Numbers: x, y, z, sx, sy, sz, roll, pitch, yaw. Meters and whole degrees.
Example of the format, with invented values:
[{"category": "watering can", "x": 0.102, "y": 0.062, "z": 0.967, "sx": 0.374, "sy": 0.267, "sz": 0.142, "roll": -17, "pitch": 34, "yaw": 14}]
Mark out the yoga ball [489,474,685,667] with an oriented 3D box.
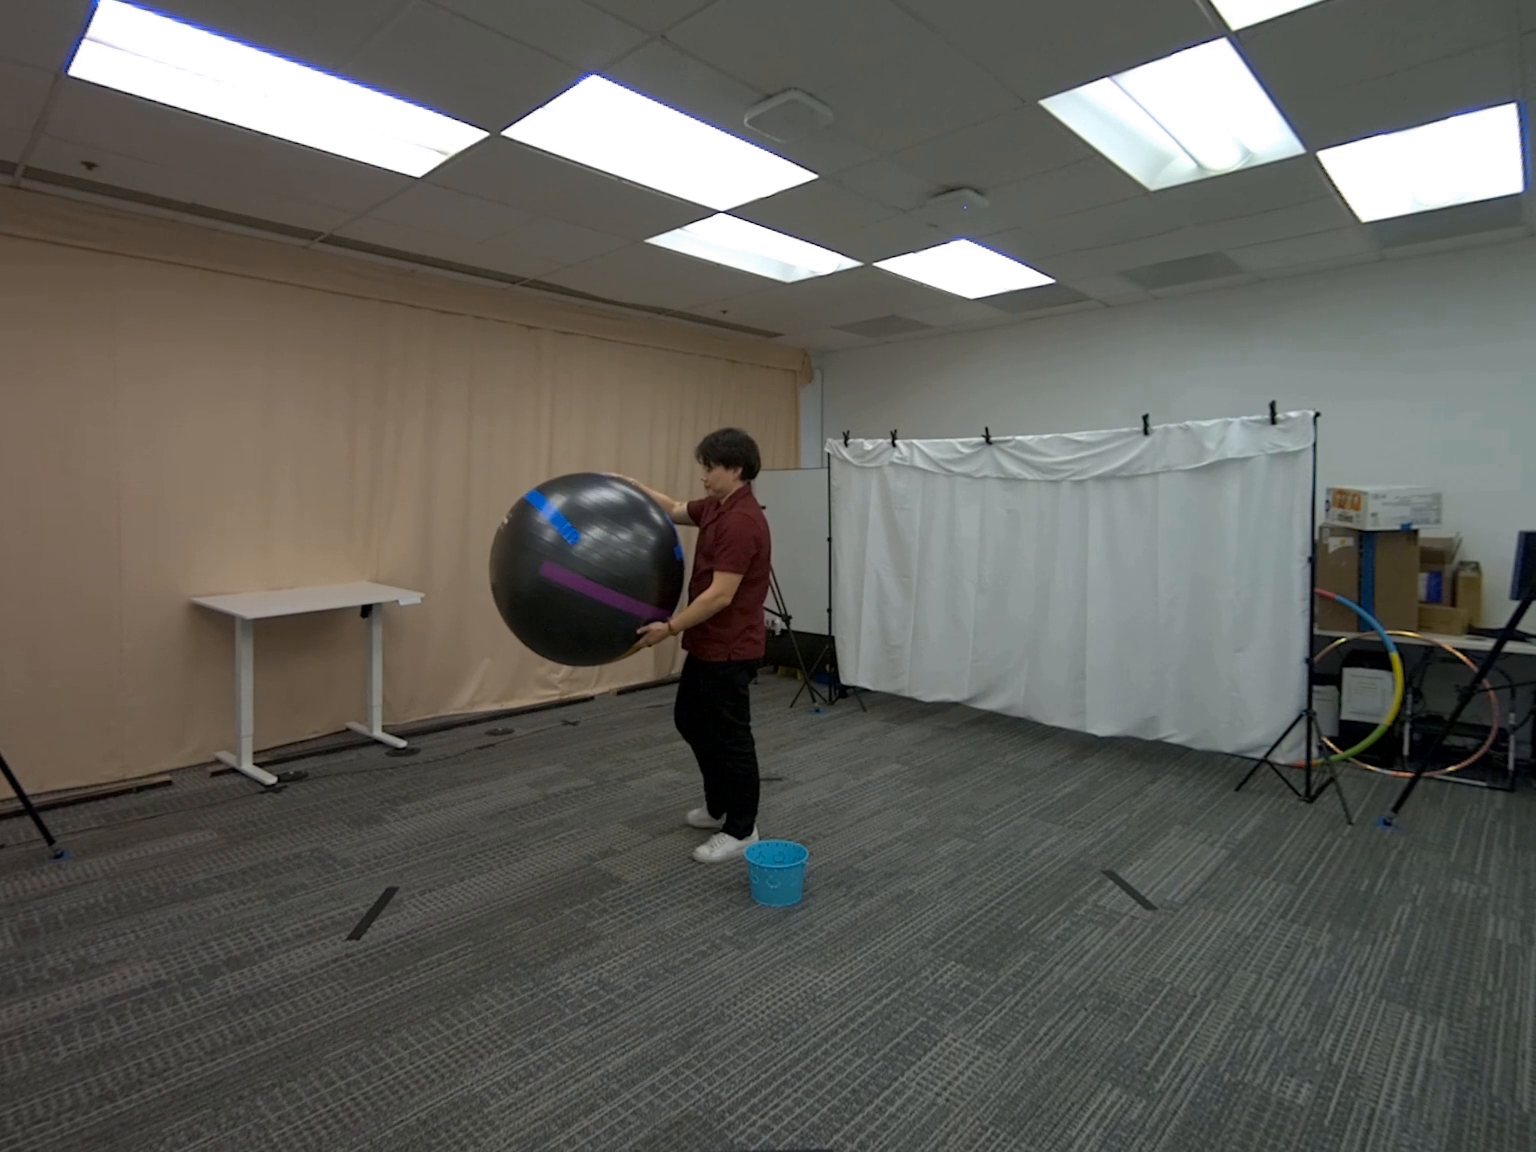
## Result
[{"category": "yoga ball", "x": -0.717, "y": -0.021, "z": 3.339, "sx": 0.757, "sy": 0.756, "sz": 0.761, "roll": 0, "pitch": 4, "yaw": -2}]
